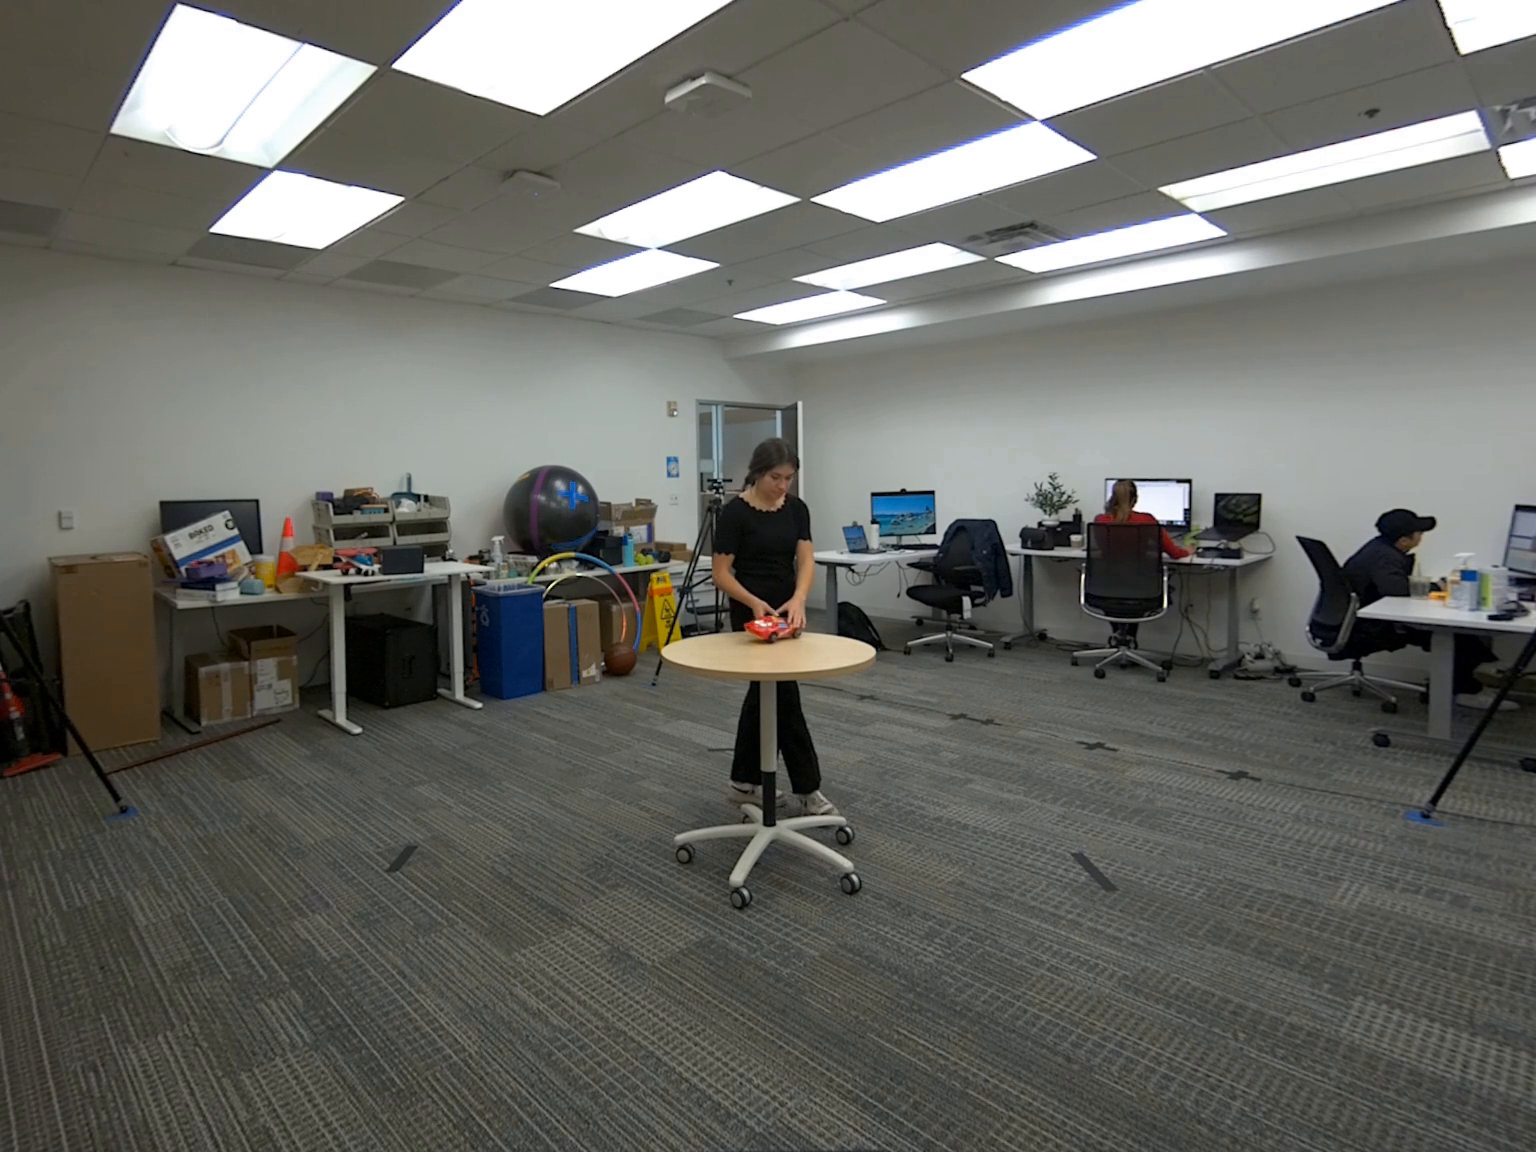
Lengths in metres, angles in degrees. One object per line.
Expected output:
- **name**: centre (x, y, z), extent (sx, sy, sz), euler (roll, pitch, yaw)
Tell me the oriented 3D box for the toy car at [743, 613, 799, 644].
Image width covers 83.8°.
- **toy car**: centre (0.020, 0.204, 3.244), extent (0.135, 0.083, 0.246), euler (24, 8, 40)
